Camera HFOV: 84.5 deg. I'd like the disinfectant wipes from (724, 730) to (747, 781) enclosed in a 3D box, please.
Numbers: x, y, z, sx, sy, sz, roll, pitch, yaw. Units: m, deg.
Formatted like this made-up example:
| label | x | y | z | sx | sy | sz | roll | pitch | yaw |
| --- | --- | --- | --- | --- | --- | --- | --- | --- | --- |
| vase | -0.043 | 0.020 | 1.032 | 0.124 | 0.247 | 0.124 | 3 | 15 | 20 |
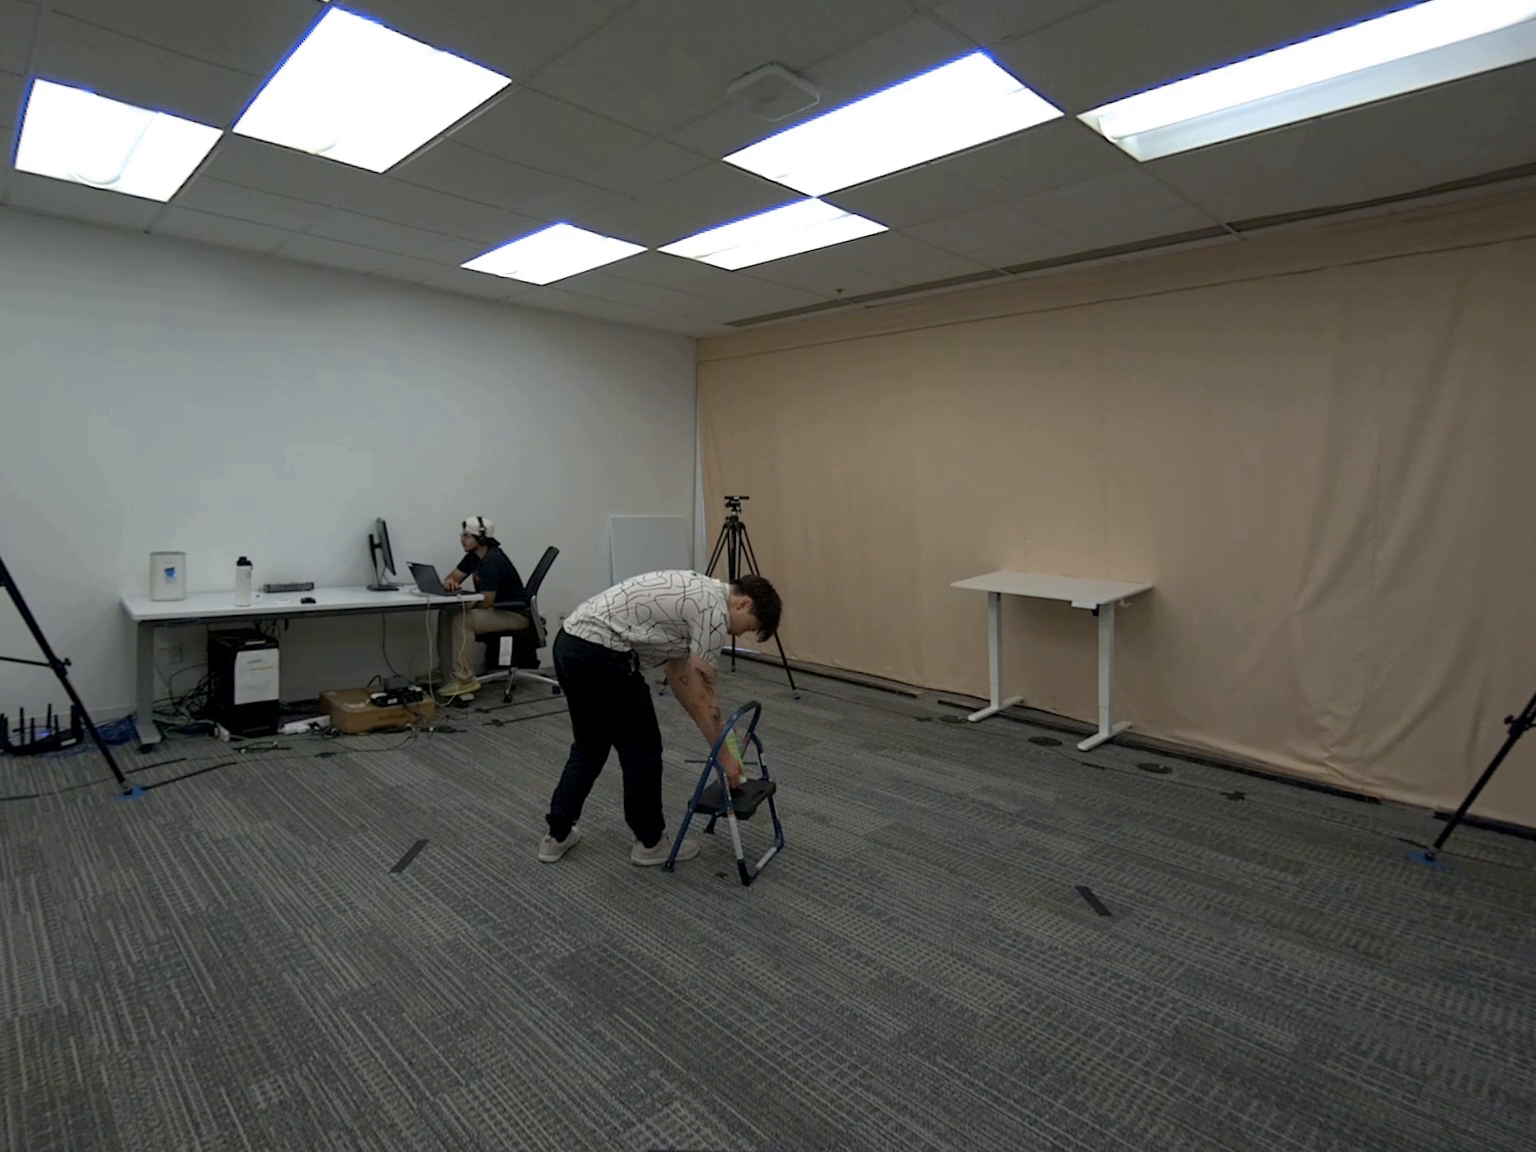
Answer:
| label | x | y | z | sx | sy | sz | roll | pitch | yaw |
| --- | --- | --- | --- | --- | --- | --- | --- | --- | --- |
| disinfectant wipes | -0.169 | 0.715 | 3.266 | 0.117 | 0.220 | 0.117 | -9 | -13 | -3 |
